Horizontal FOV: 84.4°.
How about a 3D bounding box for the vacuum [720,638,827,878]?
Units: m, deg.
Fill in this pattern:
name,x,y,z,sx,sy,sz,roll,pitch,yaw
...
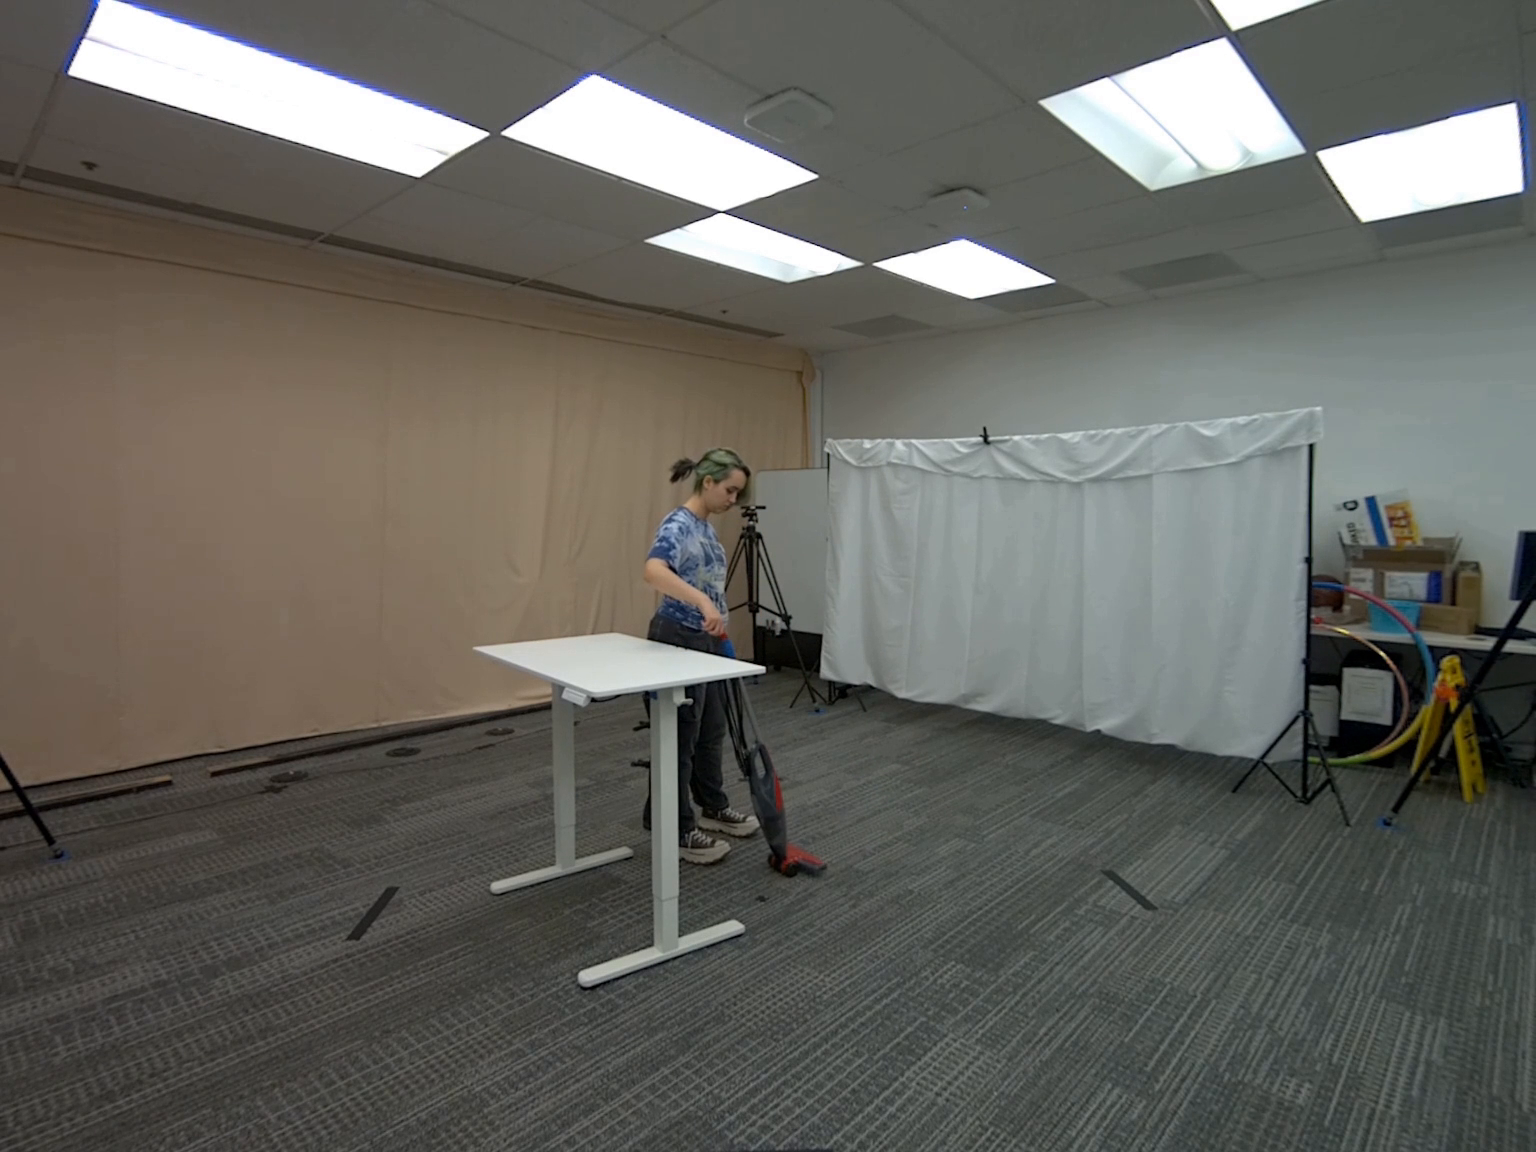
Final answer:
name,x,y,z,sx,sy,sz,roll,pitch,yaw
vacuum,-0.059,0.641,3.114,0.141,1.036,0.260,-27,15,-32
